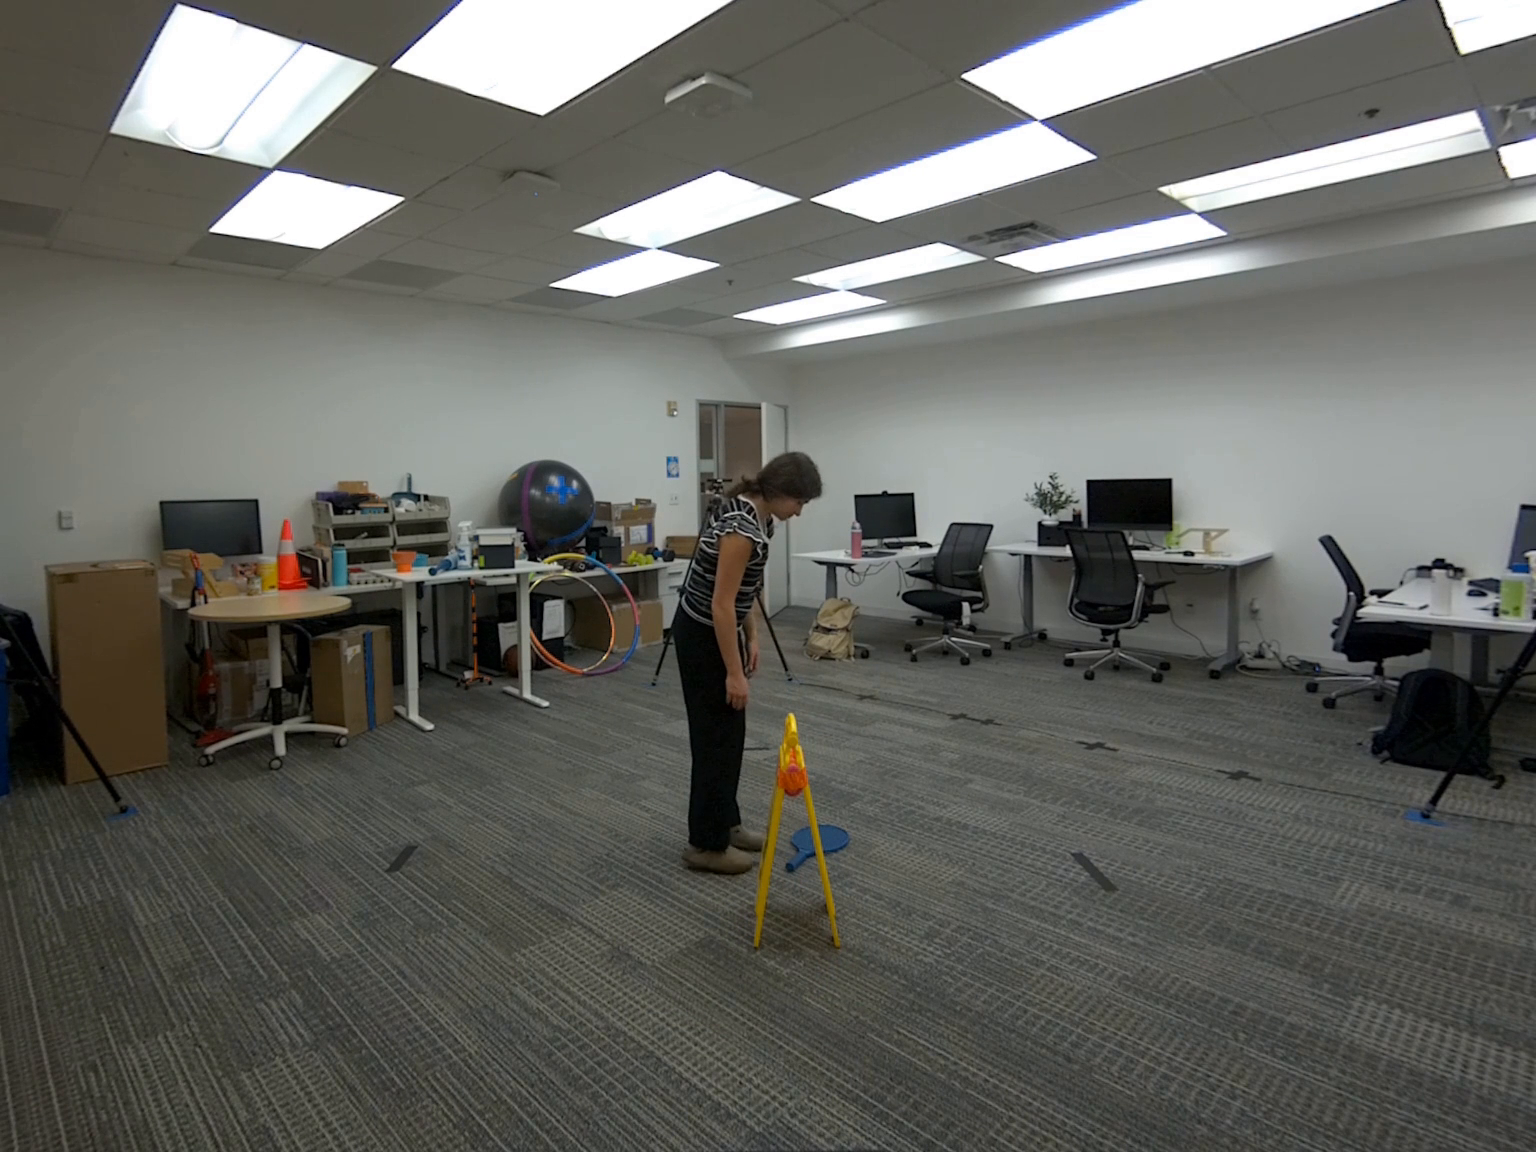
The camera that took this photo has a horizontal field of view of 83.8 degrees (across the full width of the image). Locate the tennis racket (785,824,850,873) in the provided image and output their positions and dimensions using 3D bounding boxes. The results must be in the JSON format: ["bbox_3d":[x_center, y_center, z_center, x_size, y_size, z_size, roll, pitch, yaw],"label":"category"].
[{"bbox_3d":[0.166,1.009,3.219,0.219,0.031,0.424,2,6,24],"label":"tennis racket"}]
